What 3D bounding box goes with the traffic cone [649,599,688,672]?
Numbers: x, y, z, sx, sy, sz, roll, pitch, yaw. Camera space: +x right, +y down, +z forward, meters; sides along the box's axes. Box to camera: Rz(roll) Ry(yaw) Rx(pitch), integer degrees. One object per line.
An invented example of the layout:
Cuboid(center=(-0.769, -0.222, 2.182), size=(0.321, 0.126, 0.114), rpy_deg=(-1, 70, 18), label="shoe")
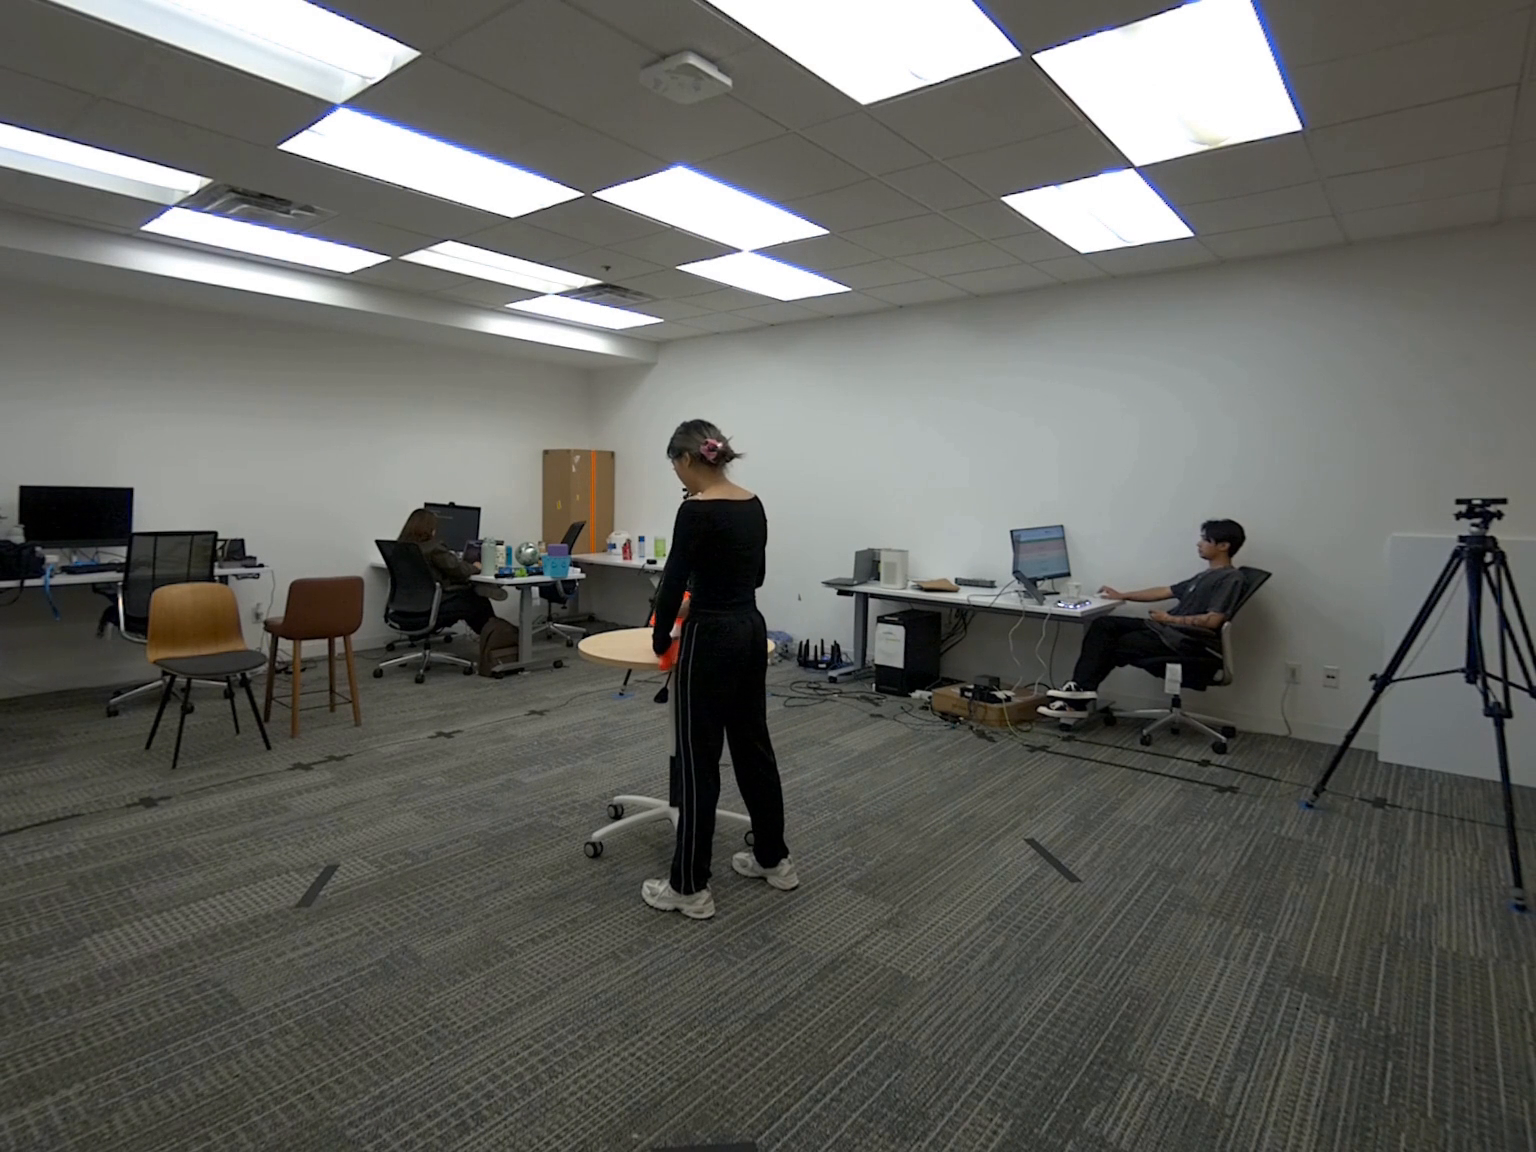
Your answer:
Cuboid(center=(-0.328, 0.224, 3.049), size=(0.203, 0.202, 0.390), rpy_deg=(27, 21, -9), label="traffic cone")
